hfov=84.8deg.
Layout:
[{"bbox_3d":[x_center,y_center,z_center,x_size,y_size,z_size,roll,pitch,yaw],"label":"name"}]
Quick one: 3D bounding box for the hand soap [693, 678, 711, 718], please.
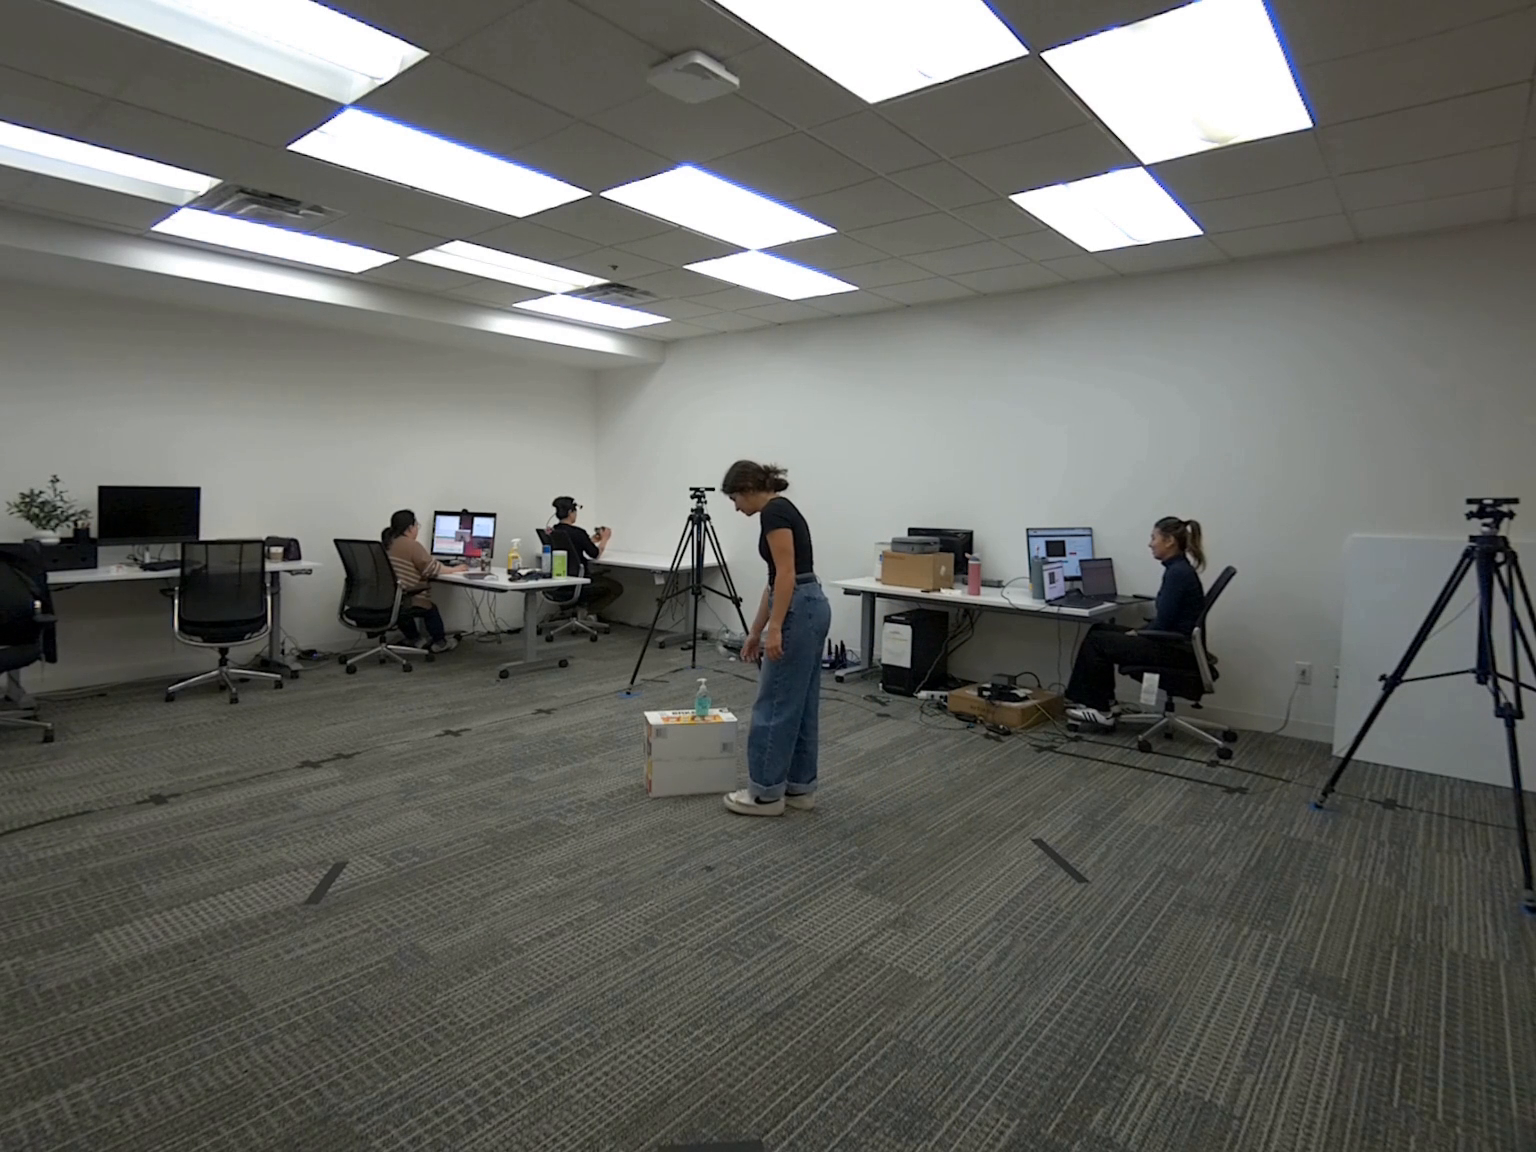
[{"bbox_3d":[-0.314,0.560,3.973,0.083,0.167,0.044,-2,6,-23],"label":"hand soap"}]
